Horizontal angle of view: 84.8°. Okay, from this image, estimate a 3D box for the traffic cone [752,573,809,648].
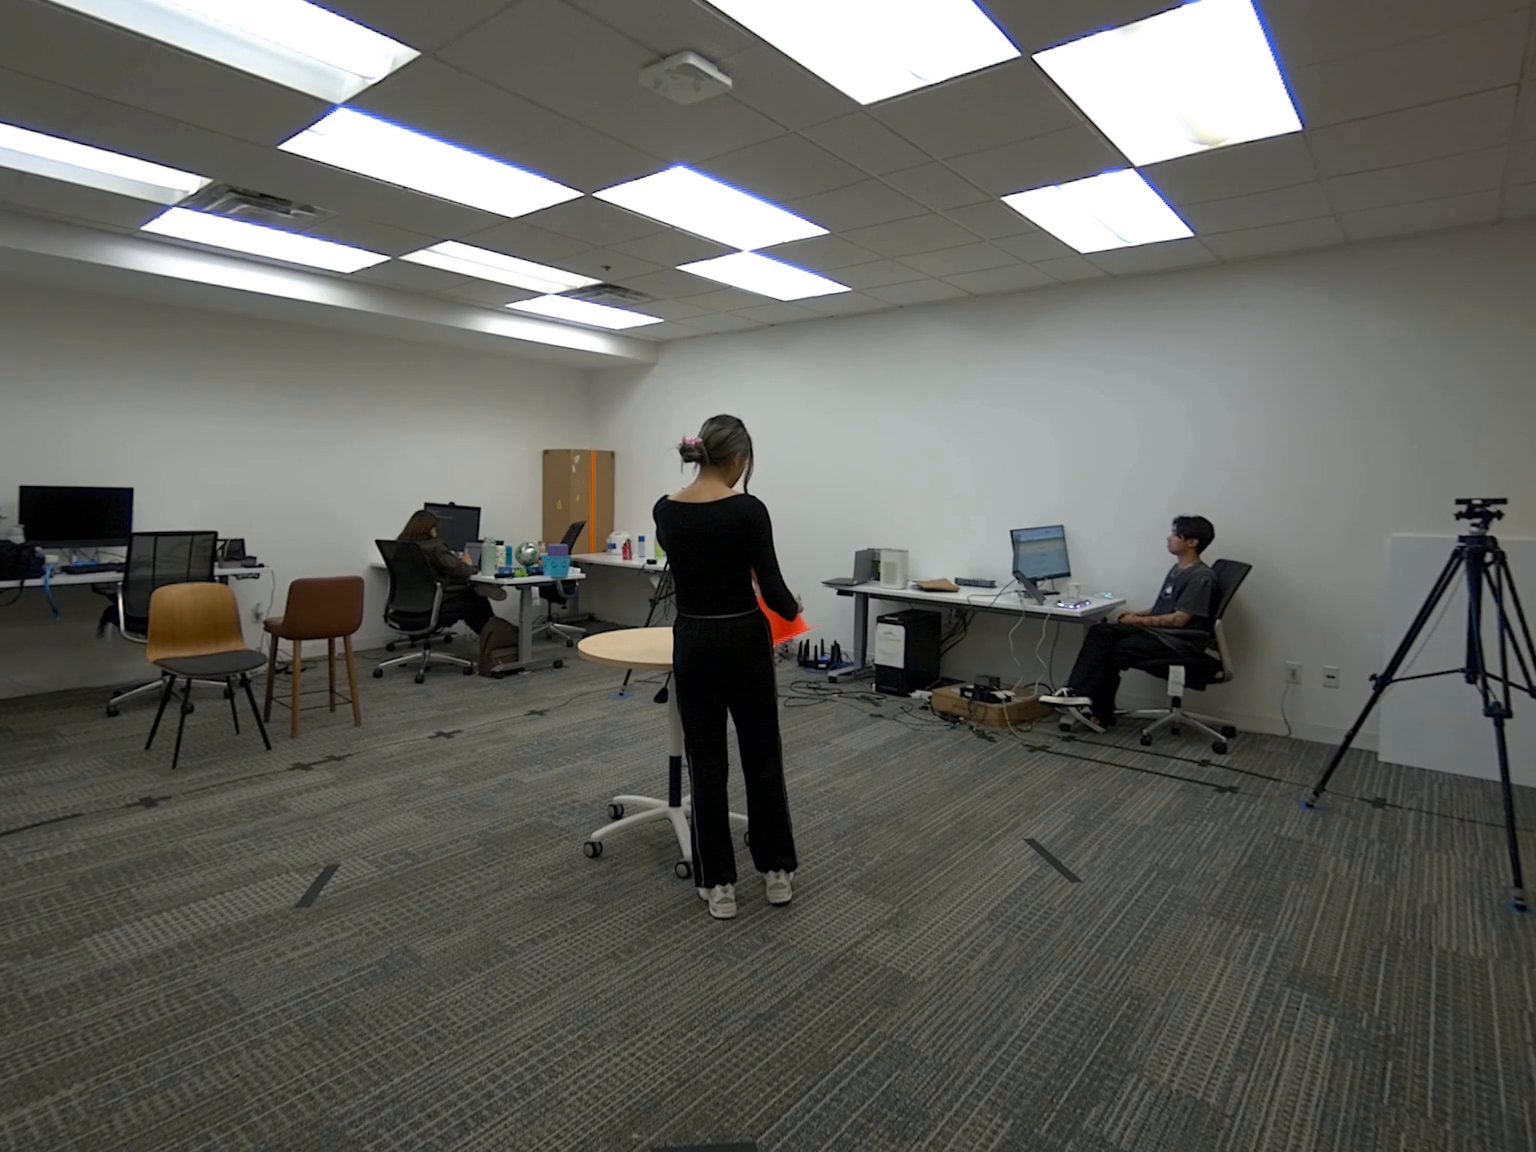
[{"bbox_3d":[-0.009,0.047,3.049,0.201,0.389,0.204,-18,-10,-28],"label":"traffic cone"}]
